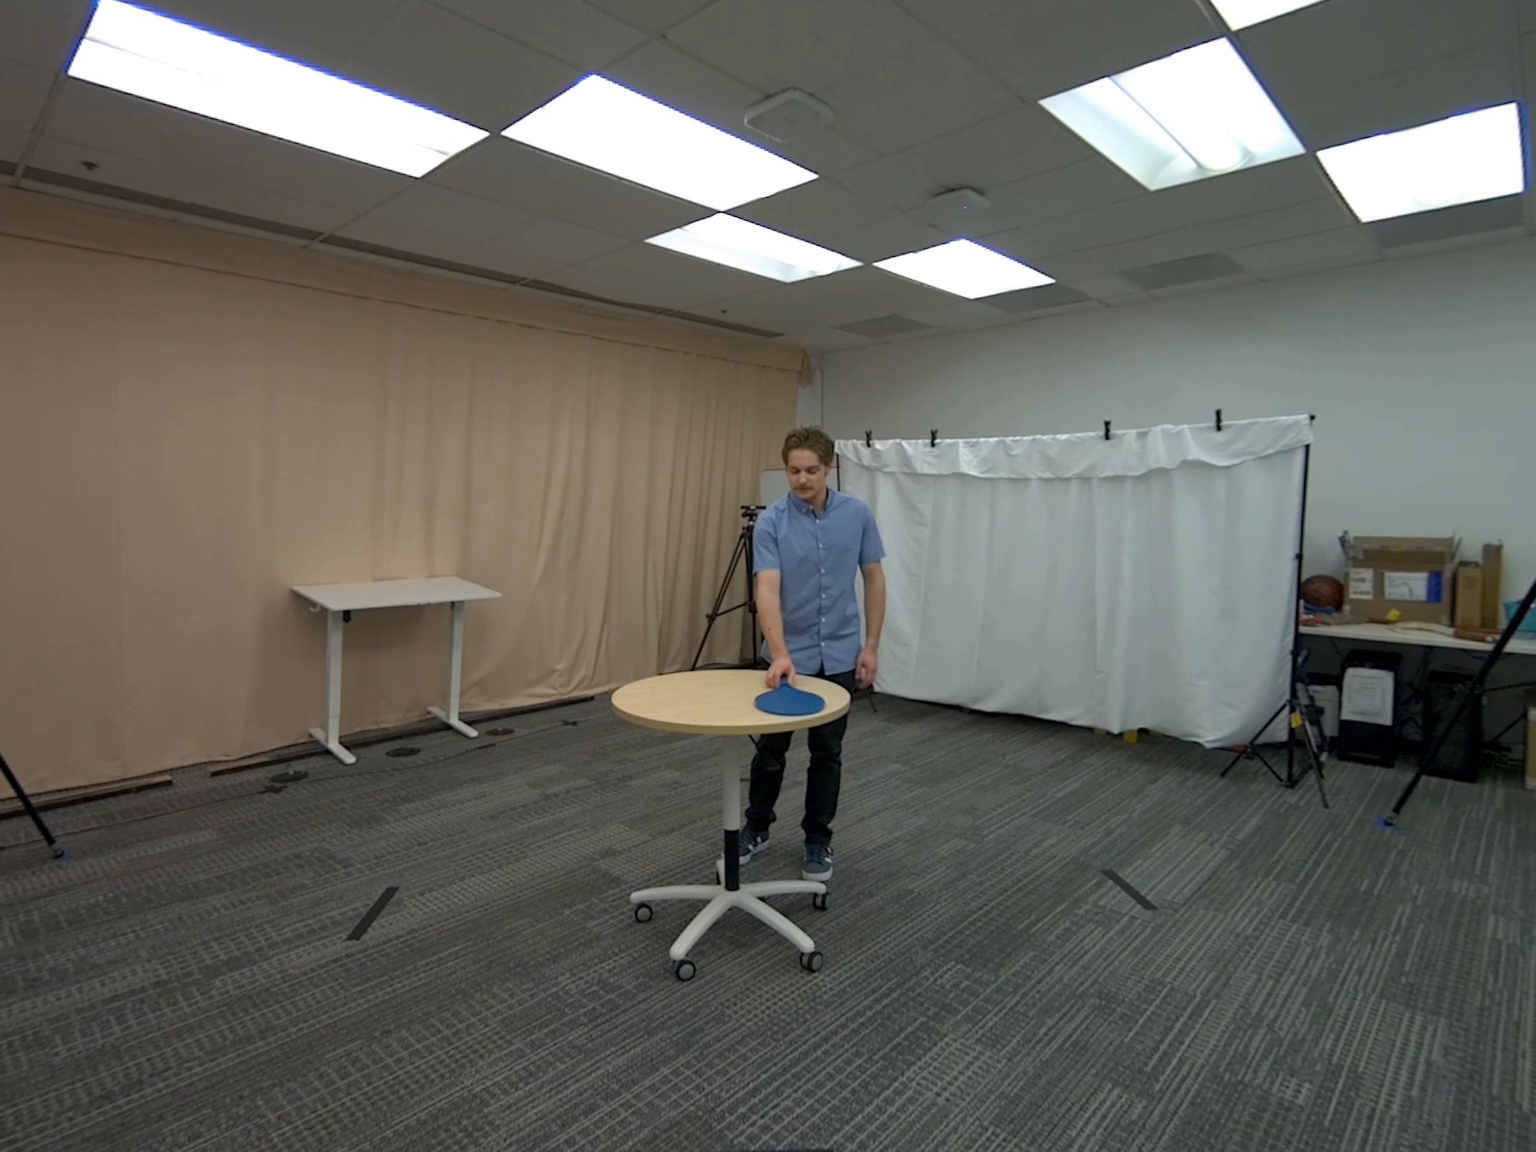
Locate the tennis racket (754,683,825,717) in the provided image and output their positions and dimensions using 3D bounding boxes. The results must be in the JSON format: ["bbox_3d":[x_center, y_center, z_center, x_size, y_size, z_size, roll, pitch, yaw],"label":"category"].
[{"bbox_3d":[0.067,0.379,2.649,0.214,0.031,0.434,-1,7,-1],"label":"tennis racket"}]
